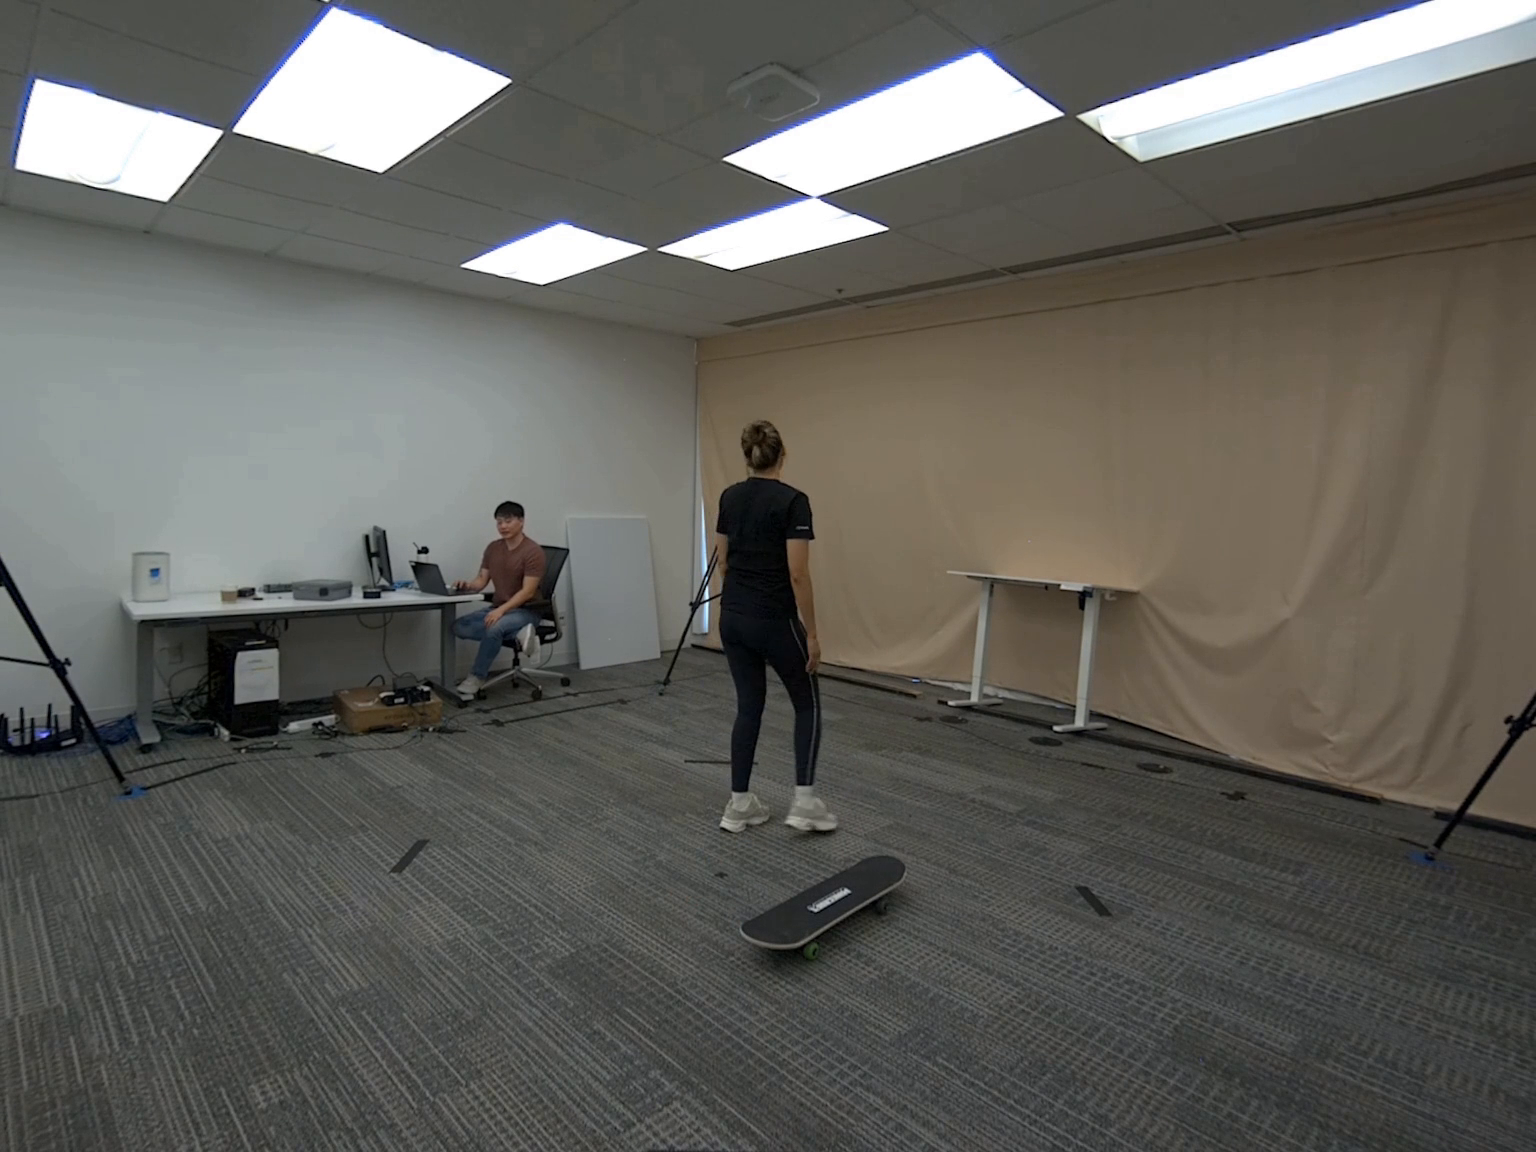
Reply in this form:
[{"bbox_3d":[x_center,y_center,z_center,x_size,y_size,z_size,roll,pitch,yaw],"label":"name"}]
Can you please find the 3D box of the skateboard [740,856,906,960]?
[{"bbox_3d":[0.201,1.087,2.741,0.198,0.110,0.768,5,7,40],"label":"skateboard"}]
